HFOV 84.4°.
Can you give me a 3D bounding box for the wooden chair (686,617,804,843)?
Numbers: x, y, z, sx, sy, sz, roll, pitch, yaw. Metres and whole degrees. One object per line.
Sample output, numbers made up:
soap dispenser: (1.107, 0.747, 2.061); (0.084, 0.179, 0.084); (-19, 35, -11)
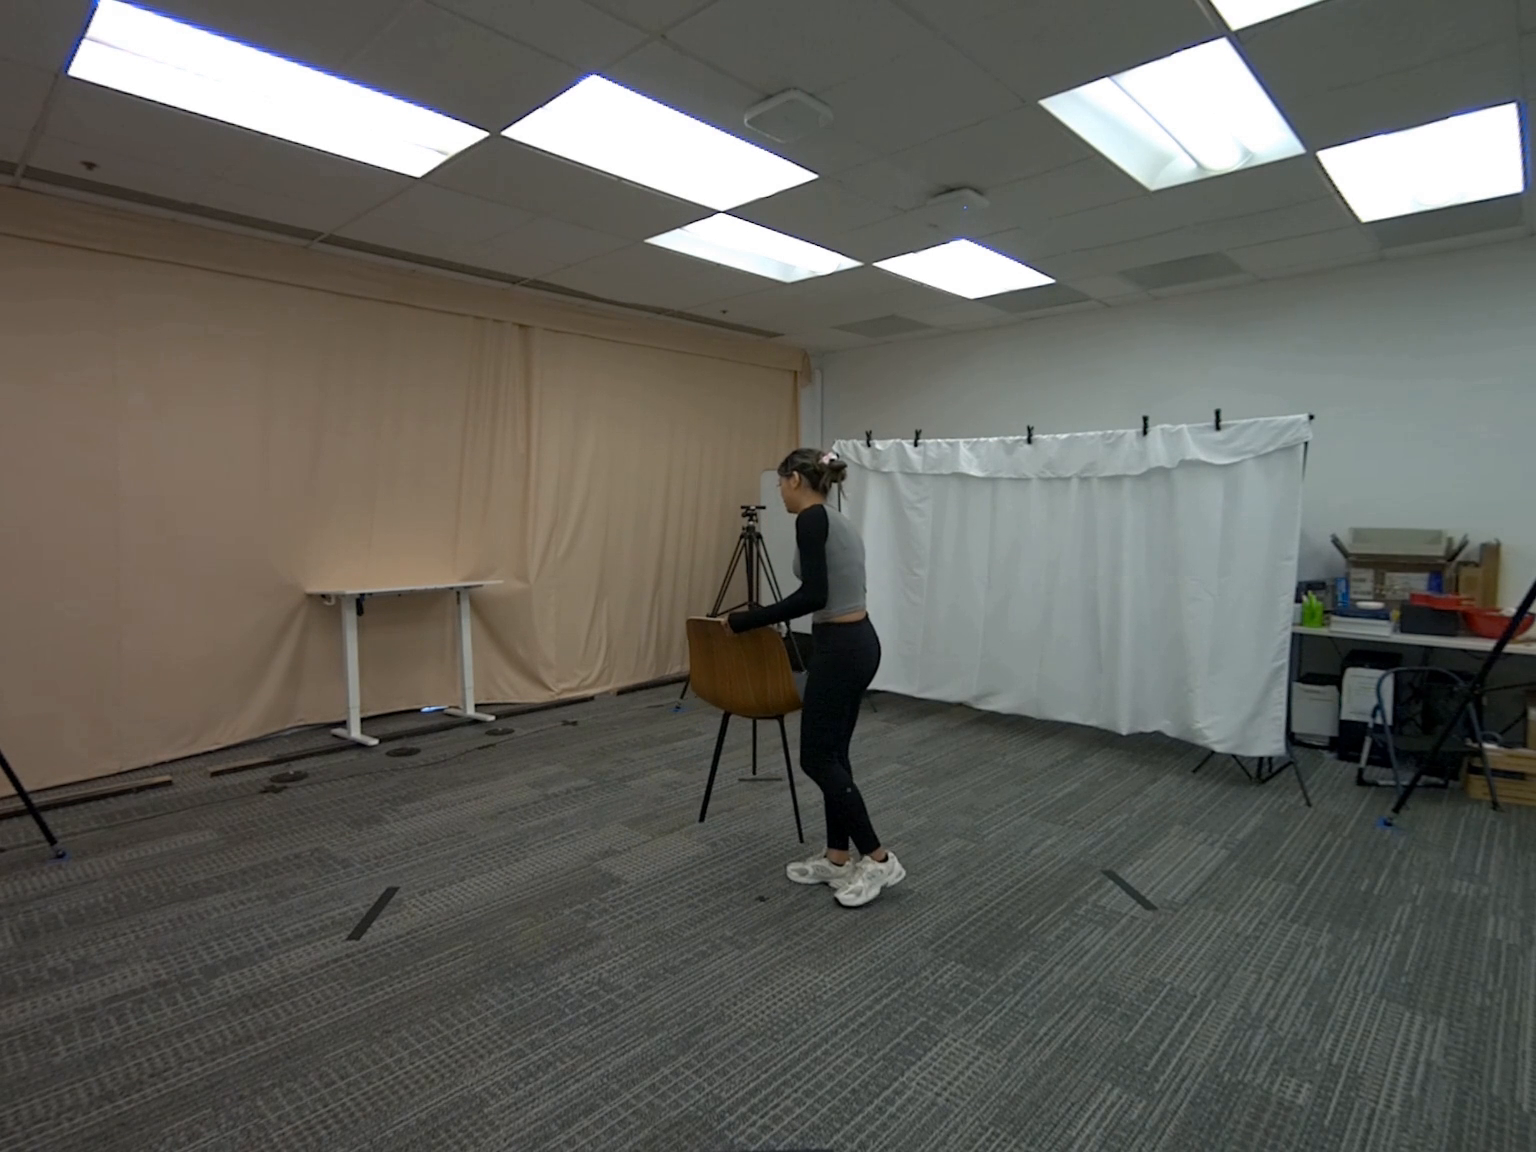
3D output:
wooden chair: (-0.007, 0.500, 3.278); (0.492, 0.868, 0.514); (1, 15, 29)
